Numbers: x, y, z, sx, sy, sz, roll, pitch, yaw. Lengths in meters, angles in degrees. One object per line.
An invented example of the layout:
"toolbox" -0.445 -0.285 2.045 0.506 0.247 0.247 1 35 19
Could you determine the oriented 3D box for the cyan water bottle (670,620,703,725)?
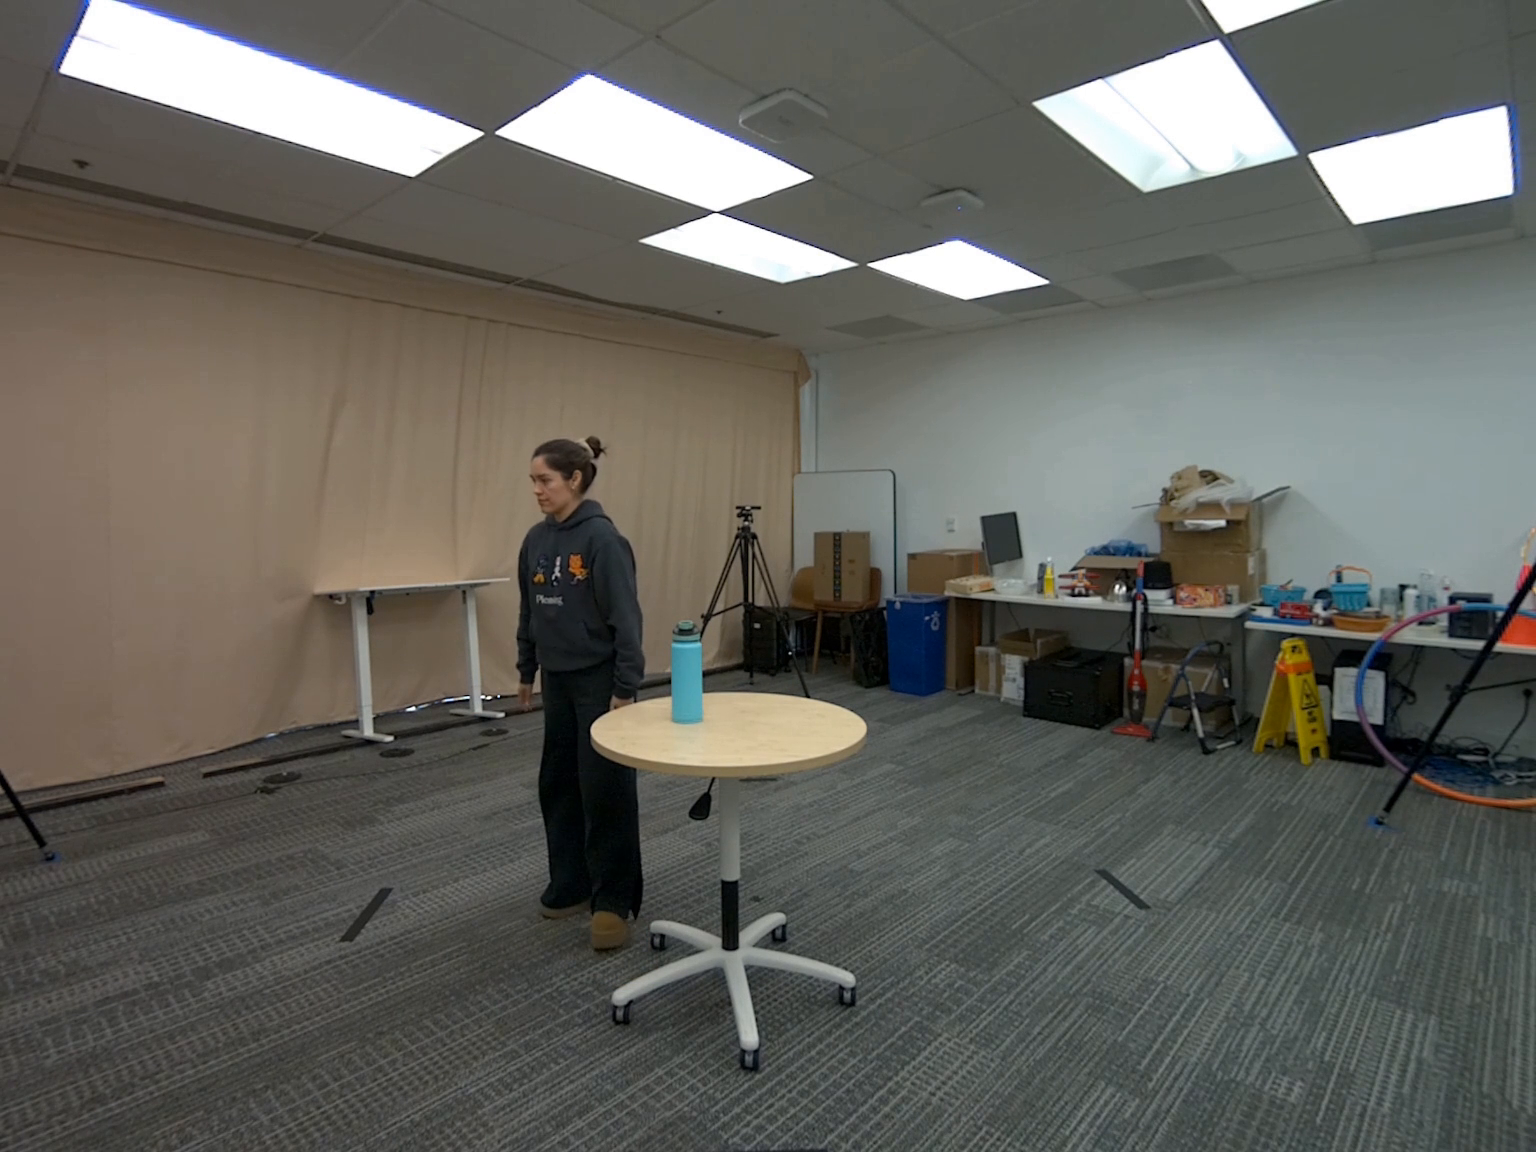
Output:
"cyan water bottle" -0.222 0.275 2.394 0.092 0.283 0.092 -2 3 -2
